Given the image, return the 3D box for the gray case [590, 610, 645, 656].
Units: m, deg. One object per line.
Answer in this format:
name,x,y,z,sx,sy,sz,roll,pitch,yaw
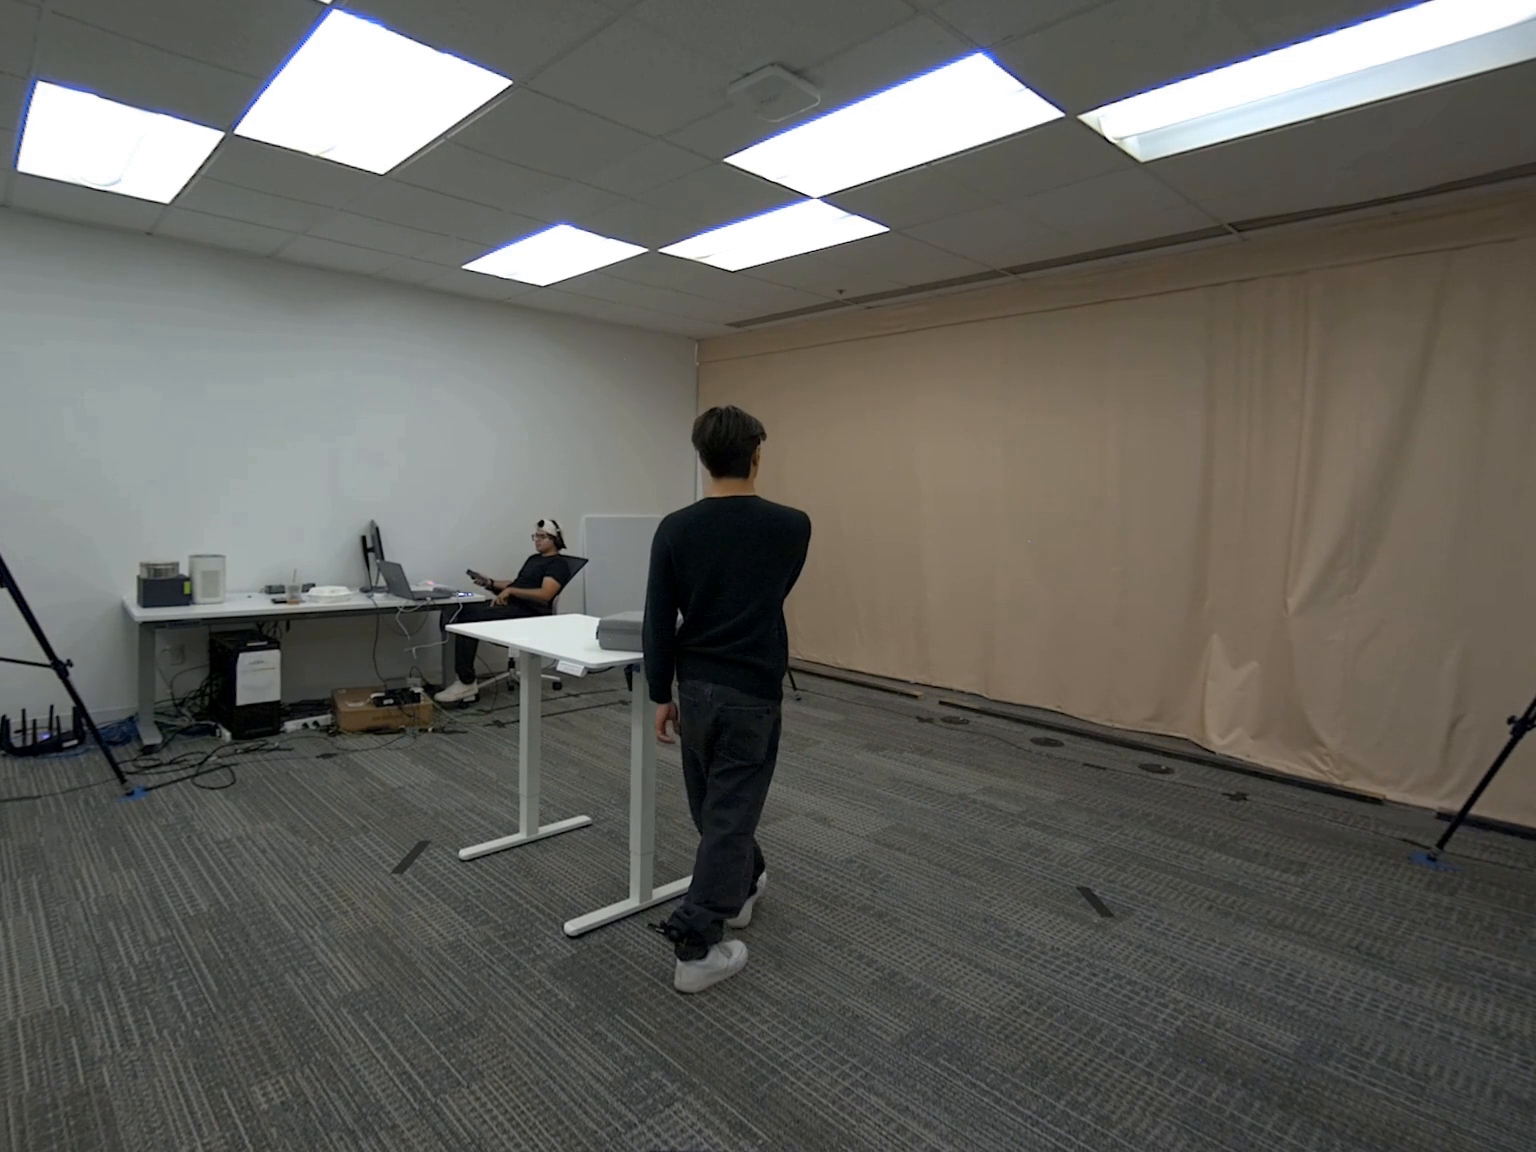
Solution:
gray case,-0.422,0.188,2.845,0.264,0.104,0.254,4,4,14
